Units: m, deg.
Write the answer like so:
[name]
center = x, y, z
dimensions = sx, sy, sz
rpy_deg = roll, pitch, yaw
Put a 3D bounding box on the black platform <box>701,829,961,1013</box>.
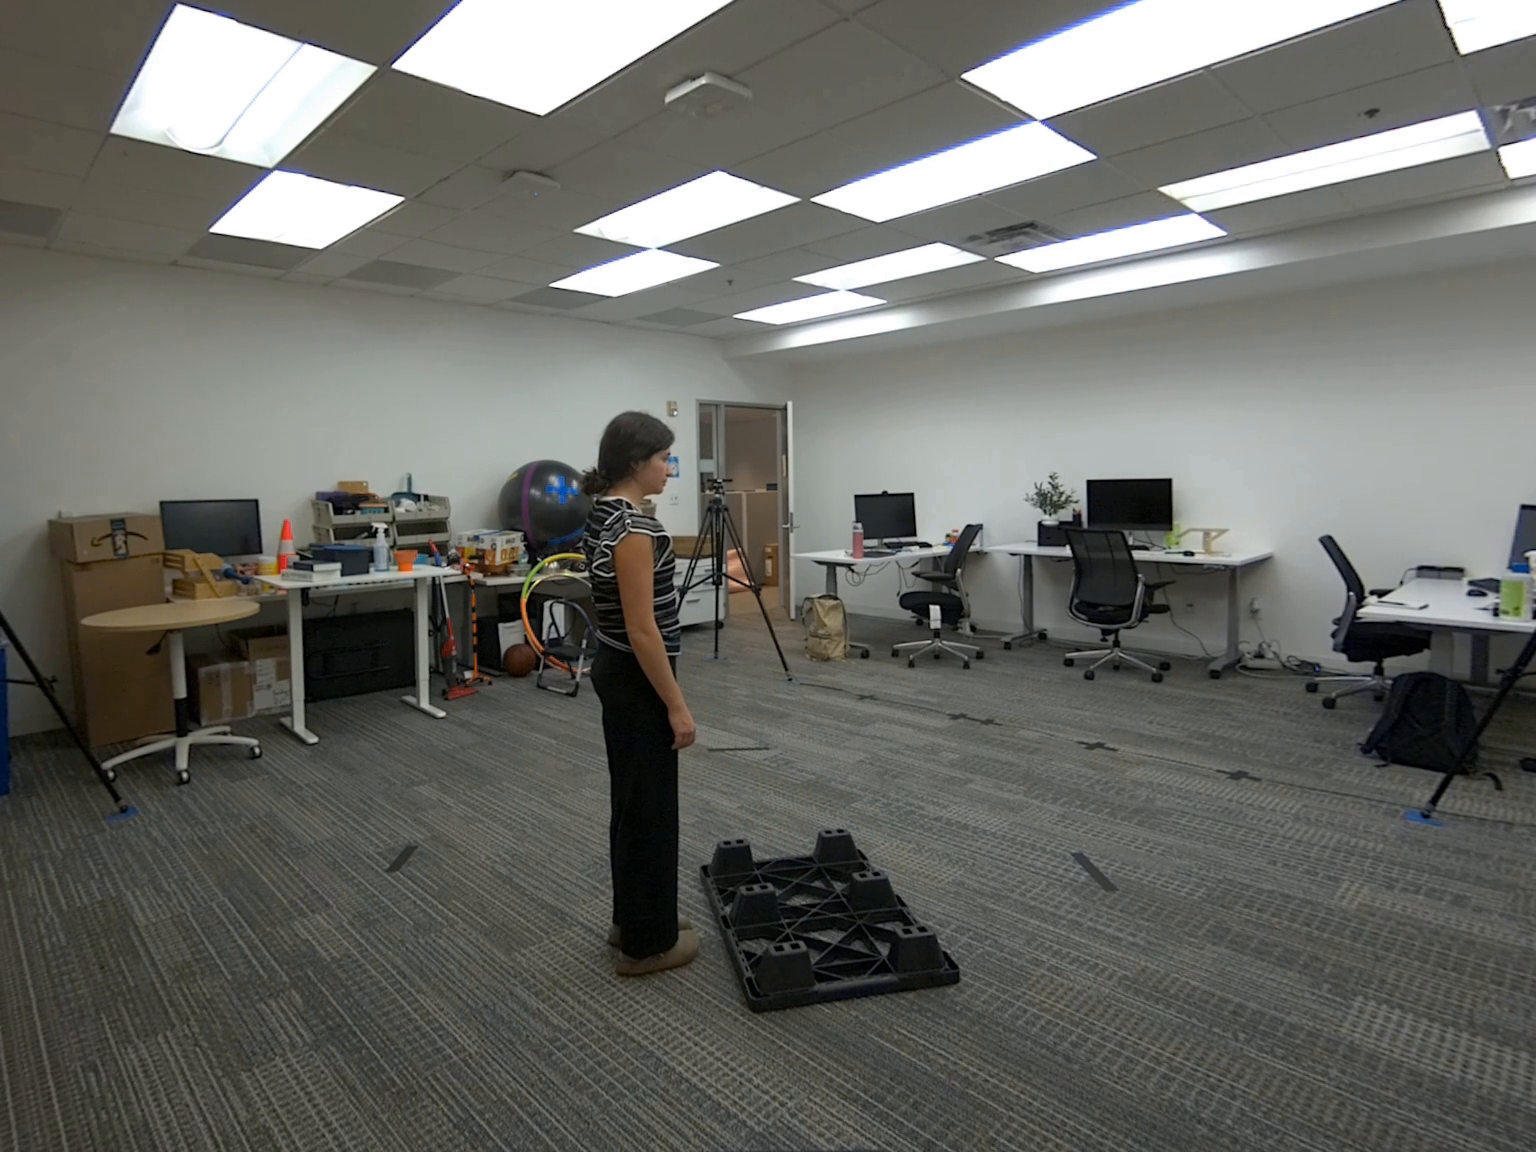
[black platform]
center = 0.154, 1.024, 2.679
dimensions = 0.598, 0.142, 0.820
rpy_deg = -3, 8, -14
